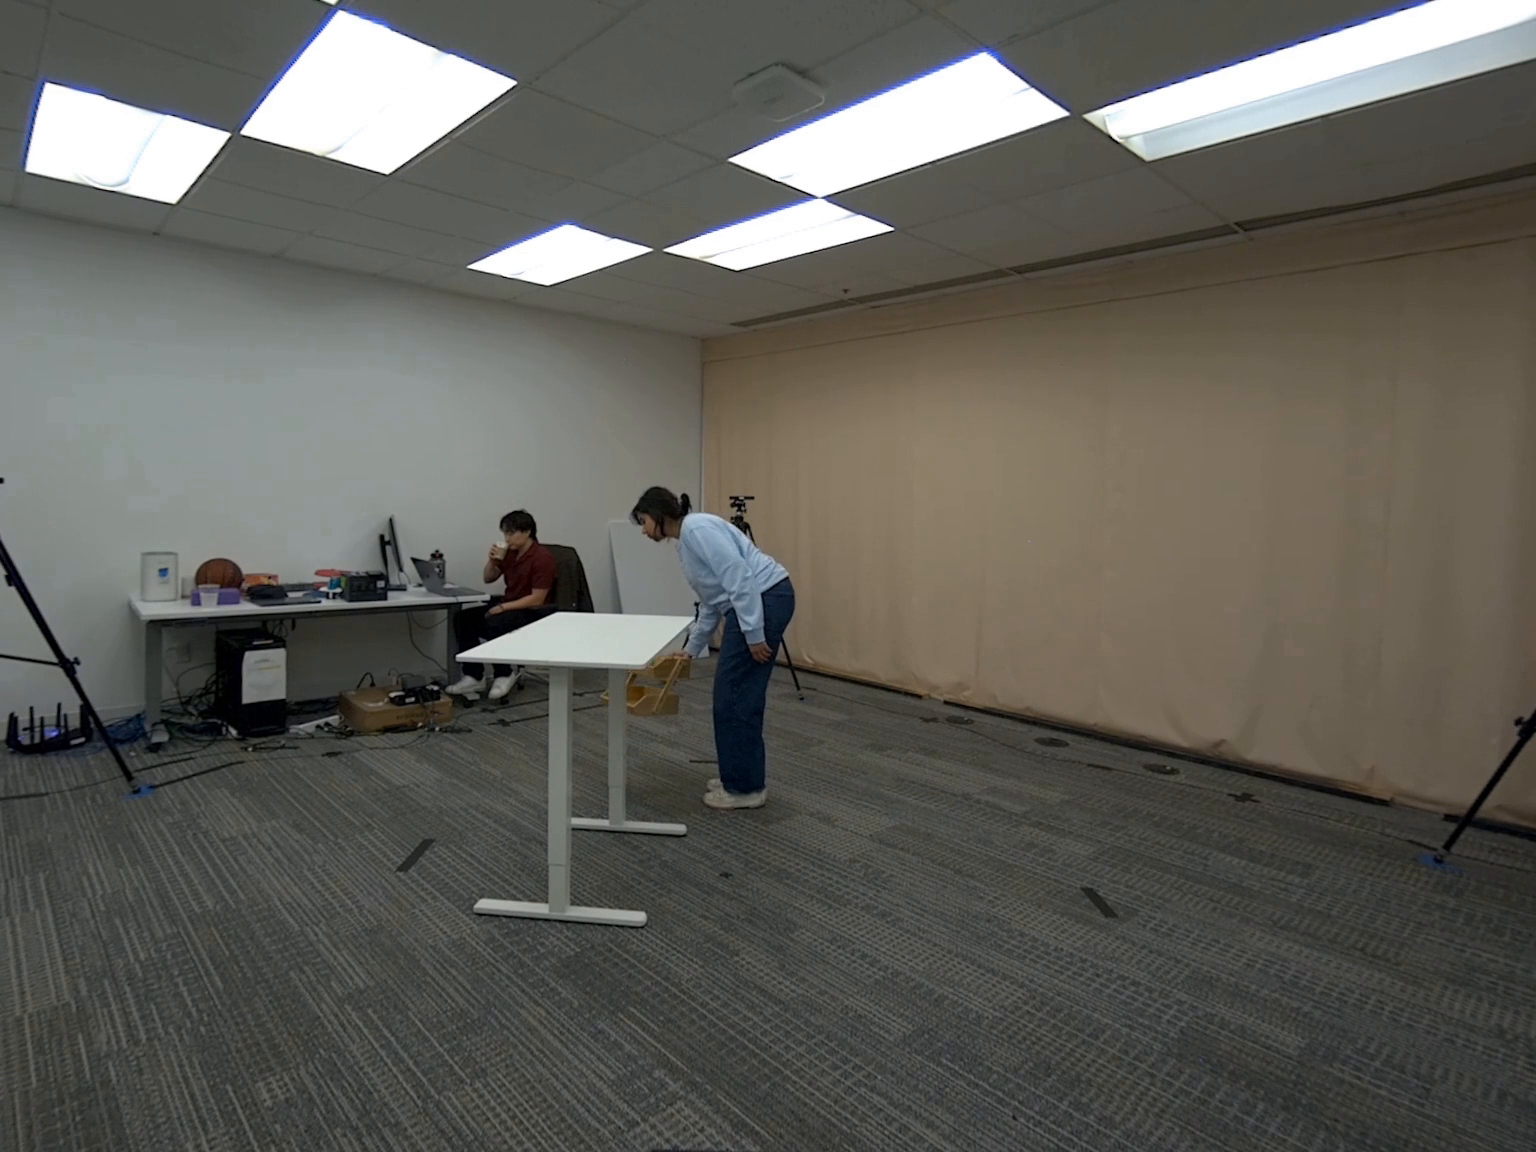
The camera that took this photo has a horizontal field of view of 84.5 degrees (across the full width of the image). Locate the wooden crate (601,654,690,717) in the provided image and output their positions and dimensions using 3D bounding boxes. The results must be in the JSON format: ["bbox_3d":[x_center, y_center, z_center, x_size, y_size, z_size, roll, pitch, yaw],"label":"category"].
[{"bbox_3d":[-0.582,0.503,4.018,0.295,0.274,0.332,4,-2,-34],"label":"wooden crate"}]
